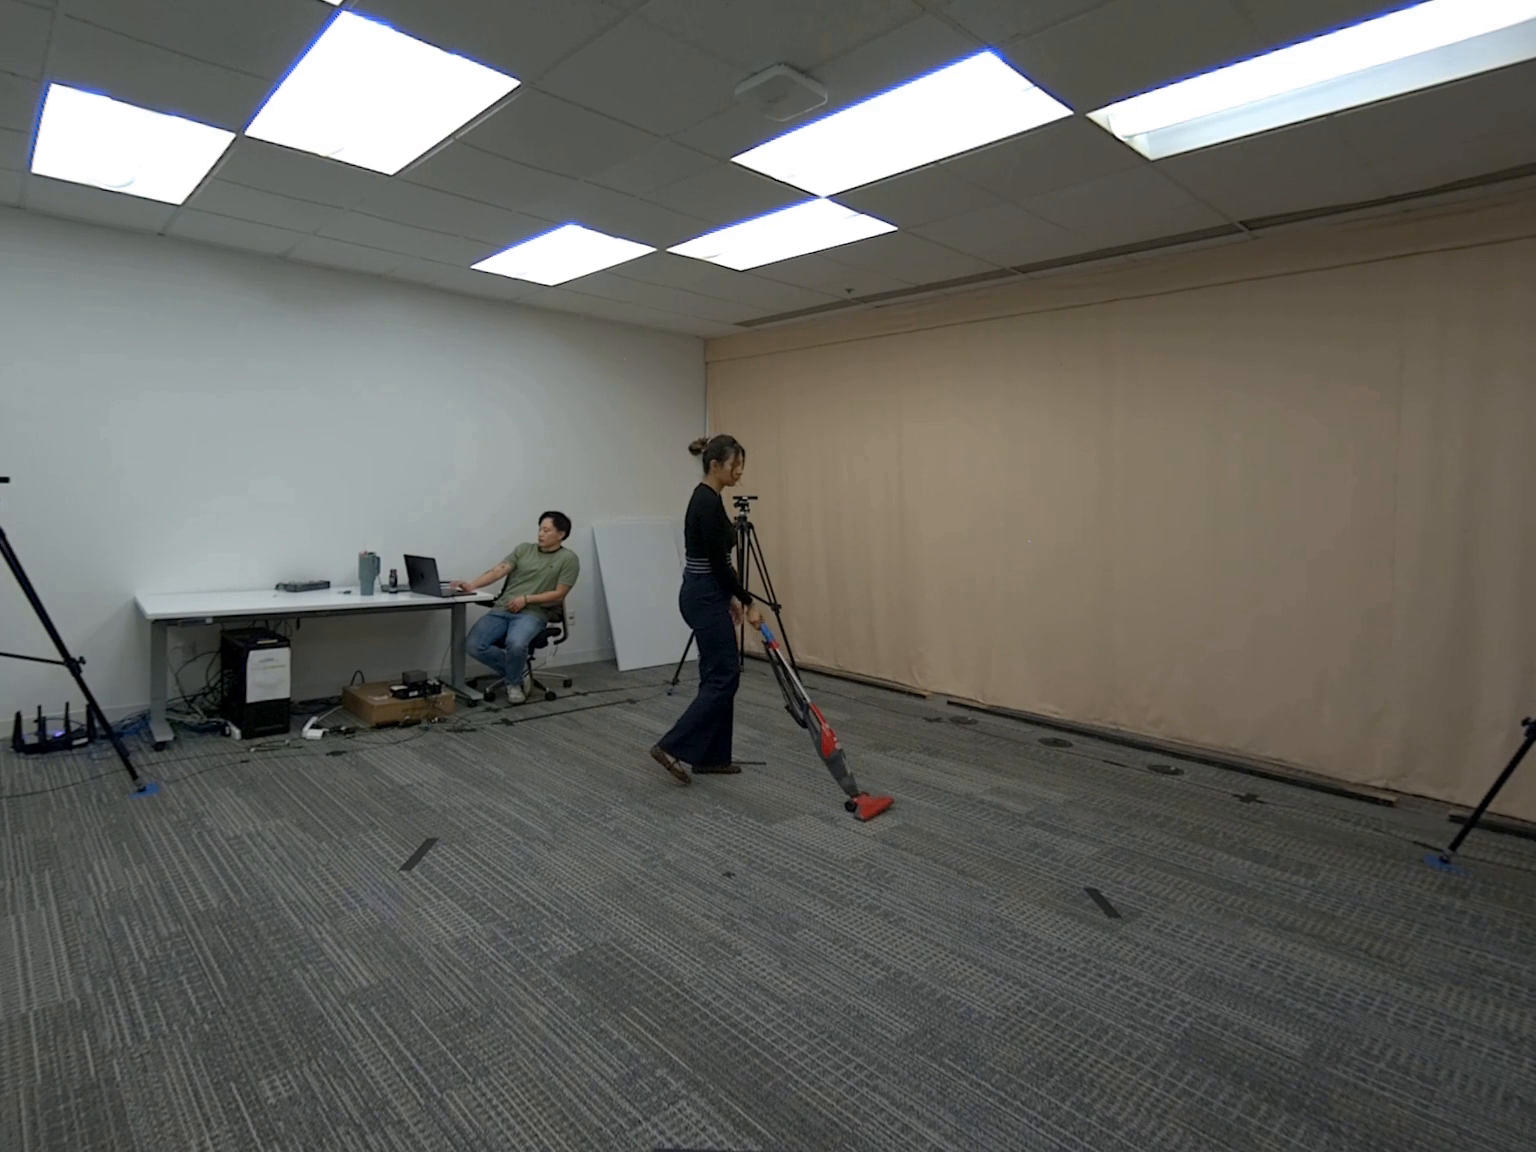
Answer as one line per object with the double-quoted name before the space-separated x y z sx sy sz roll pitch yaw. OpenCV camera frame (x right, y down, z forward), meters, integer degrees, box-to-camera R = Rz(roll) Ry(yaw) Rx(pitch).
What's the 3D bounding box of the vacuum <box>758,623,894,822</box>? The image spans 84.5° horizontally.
"vacuum" 0.174 0.621 3.949 0.144 1.070 0.247 -44 -23 31
